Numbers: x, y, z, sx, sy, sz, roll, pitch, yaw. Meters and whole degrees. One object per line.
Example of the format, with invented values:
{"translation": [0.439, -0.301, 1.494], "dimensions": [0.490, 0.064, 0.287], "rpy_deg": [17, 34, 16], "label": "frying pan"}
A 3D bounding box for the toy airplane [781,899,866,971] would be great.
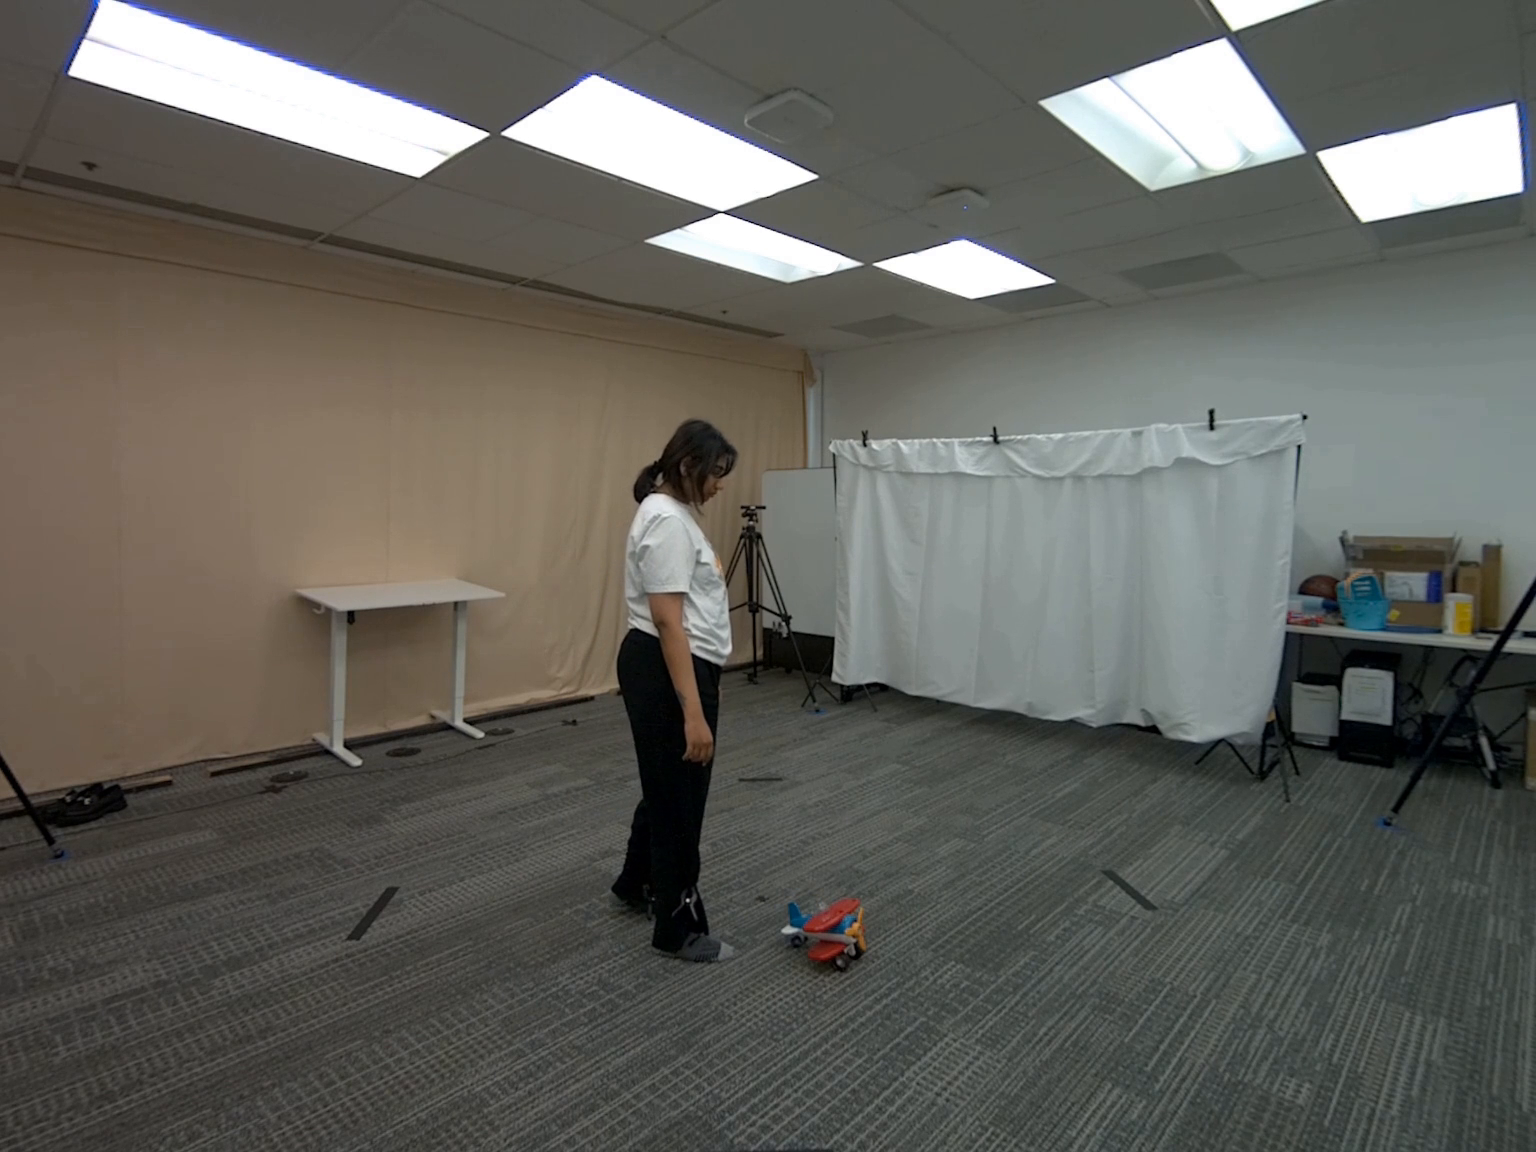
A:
{"translation": [0.174, 1.102, 2.588], "dimensions": [0.262, 0.156, 0.249], "rpy_deg": [2, 5, 10], "label": "toy airplane"}
